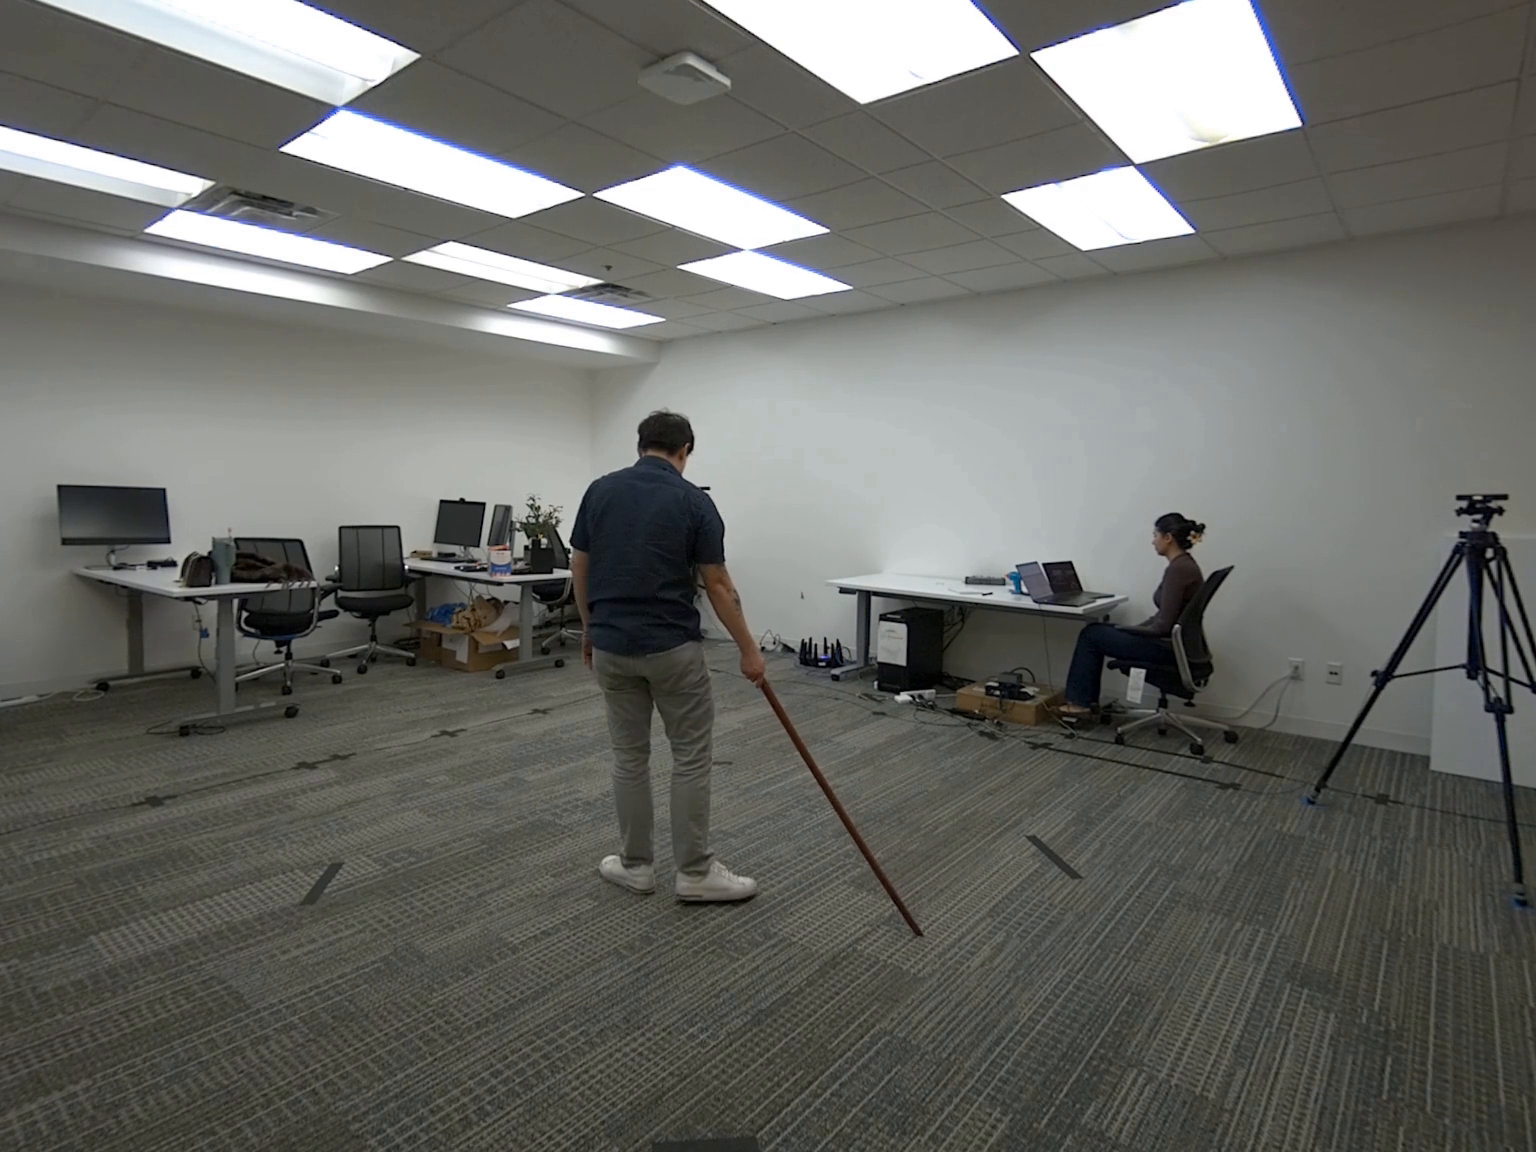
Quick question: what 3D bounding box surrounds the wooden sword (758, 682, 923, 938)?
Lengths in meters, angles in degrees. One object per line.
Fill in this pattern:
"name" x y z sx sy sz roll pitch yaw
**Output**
"wooden sword" 0.206 0.713 2.815 0.050 1.048 0.024 -13 -26 -51
